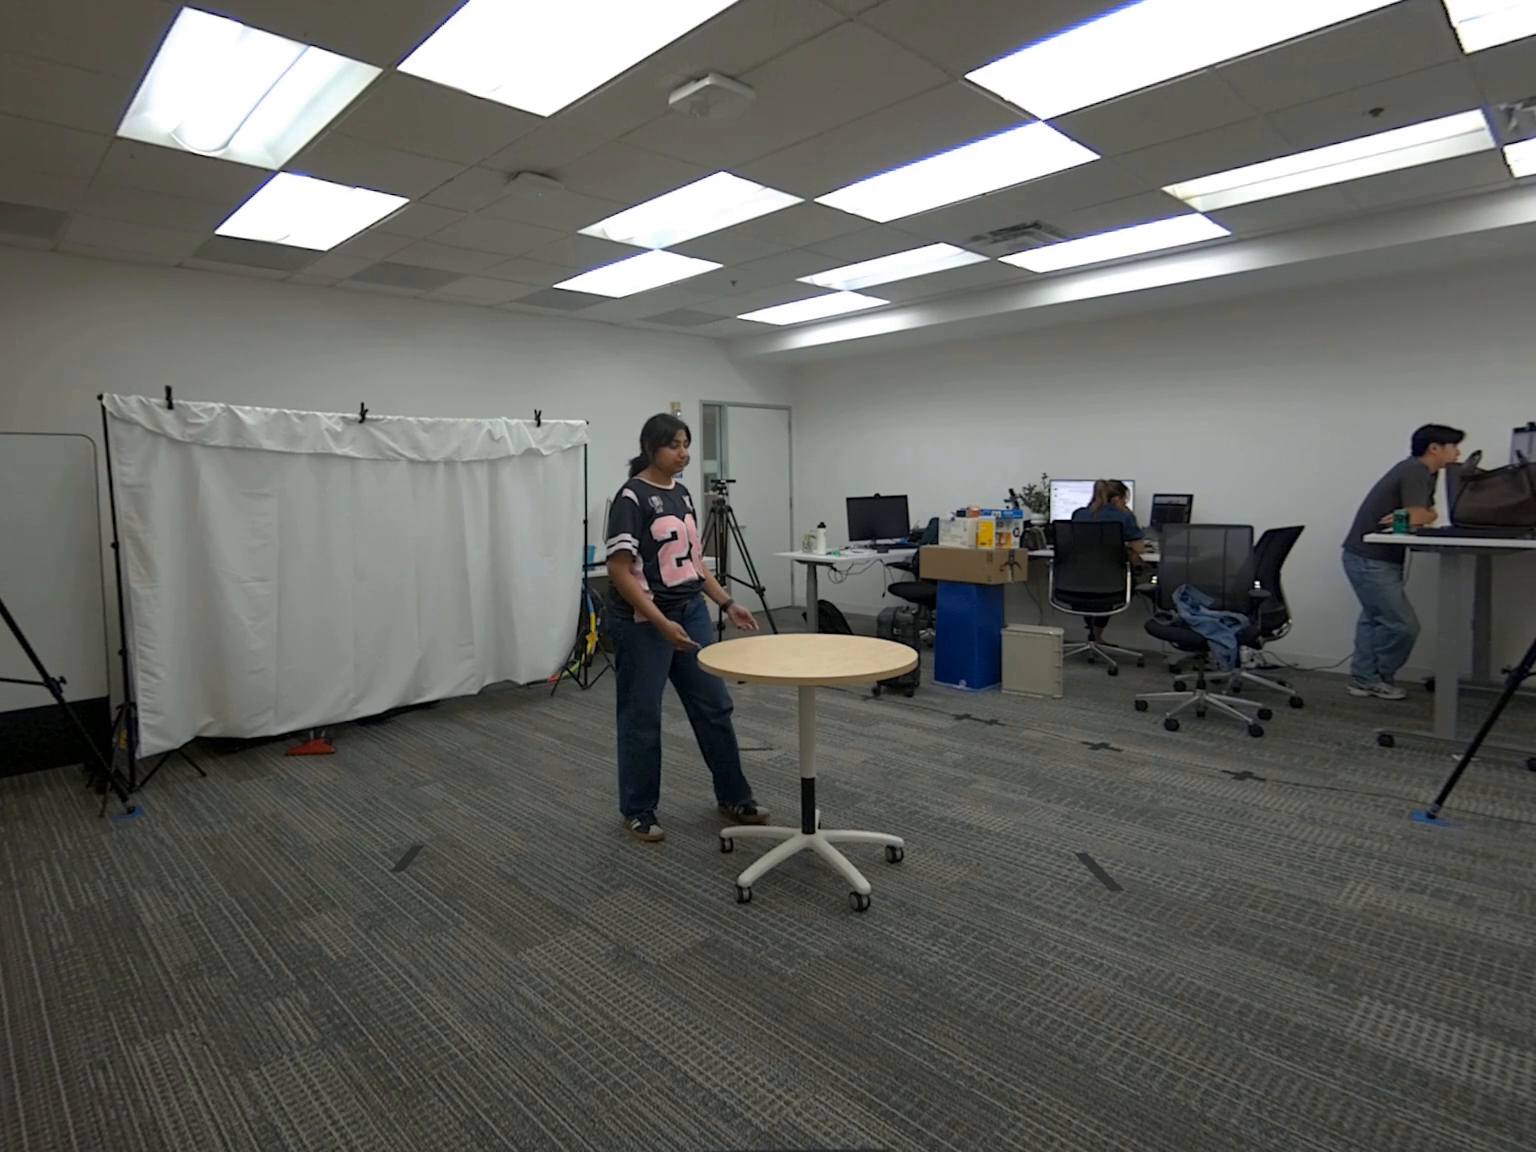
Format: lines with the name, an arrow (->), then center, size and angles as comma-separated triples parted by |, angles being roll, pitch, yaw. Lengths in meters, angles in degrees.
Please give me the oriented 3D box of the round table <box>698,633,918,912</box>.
round table -> 0.146, 0.663, 3.007 | 0.784, 0.783, 0.789 | -1, 5, -2
